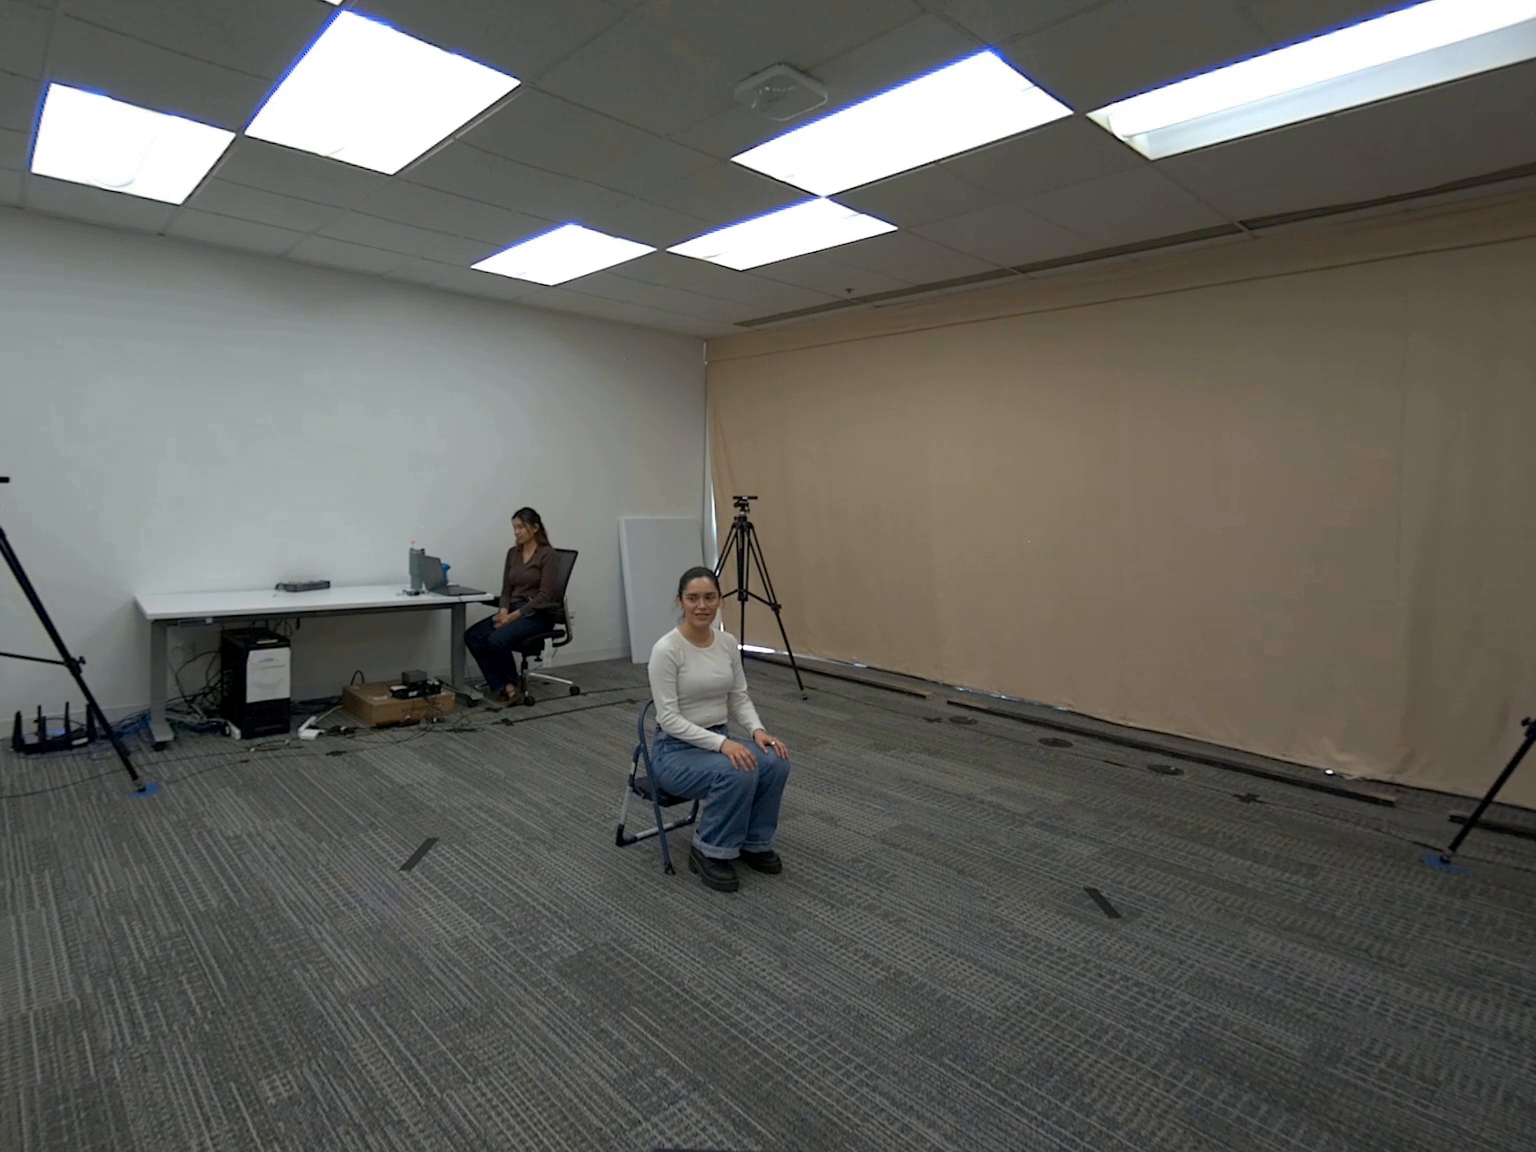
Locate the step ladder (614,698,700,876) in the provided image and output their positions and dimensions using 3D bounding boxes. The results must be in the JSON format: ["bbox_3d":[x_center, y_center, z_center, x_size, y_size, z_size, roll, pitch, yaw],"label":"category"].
[{"bbox_3d":[-0.342,0.772,3.347,0.358,0.605,0.421,5,4,44],"label":"step ladder"}]
